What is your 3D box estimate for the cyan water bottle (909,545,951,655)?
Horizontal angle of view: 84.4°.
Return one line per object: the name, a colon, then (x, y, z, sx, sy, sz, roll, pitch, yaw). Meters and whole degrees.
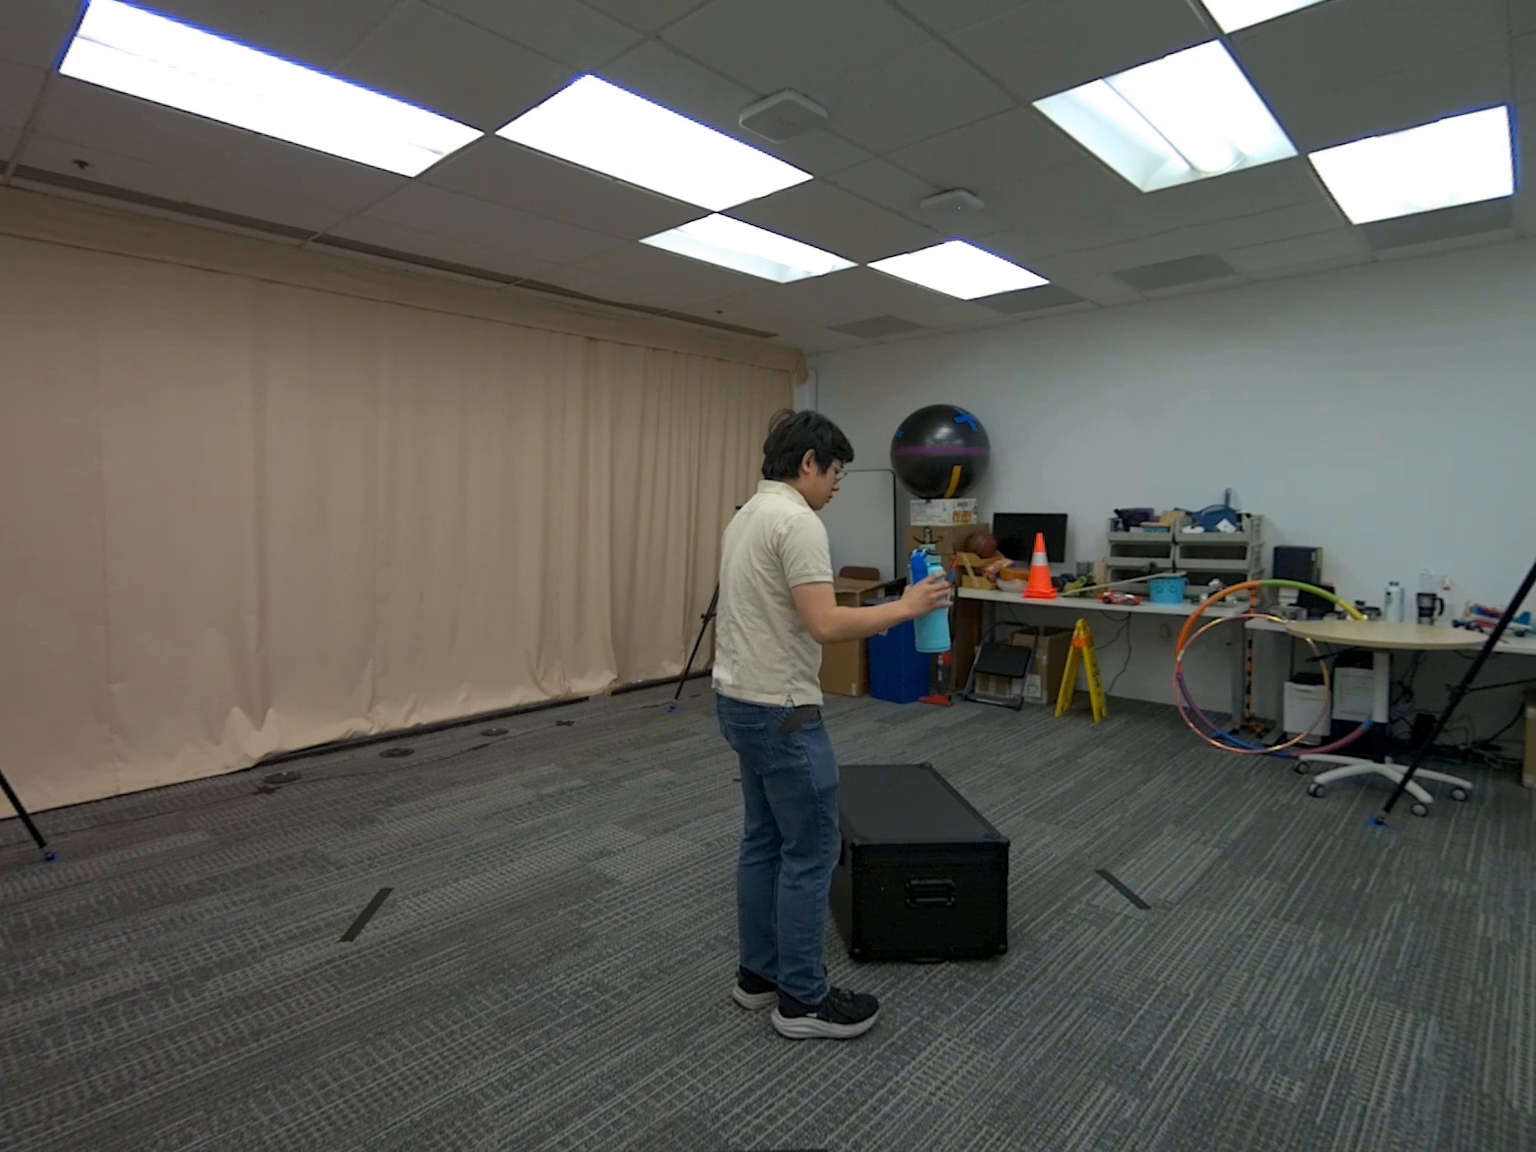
cyan water bottle: (0.442, 0.060, 2.243, 0.092, 0.283, 0.092, -4, 1, -2)
